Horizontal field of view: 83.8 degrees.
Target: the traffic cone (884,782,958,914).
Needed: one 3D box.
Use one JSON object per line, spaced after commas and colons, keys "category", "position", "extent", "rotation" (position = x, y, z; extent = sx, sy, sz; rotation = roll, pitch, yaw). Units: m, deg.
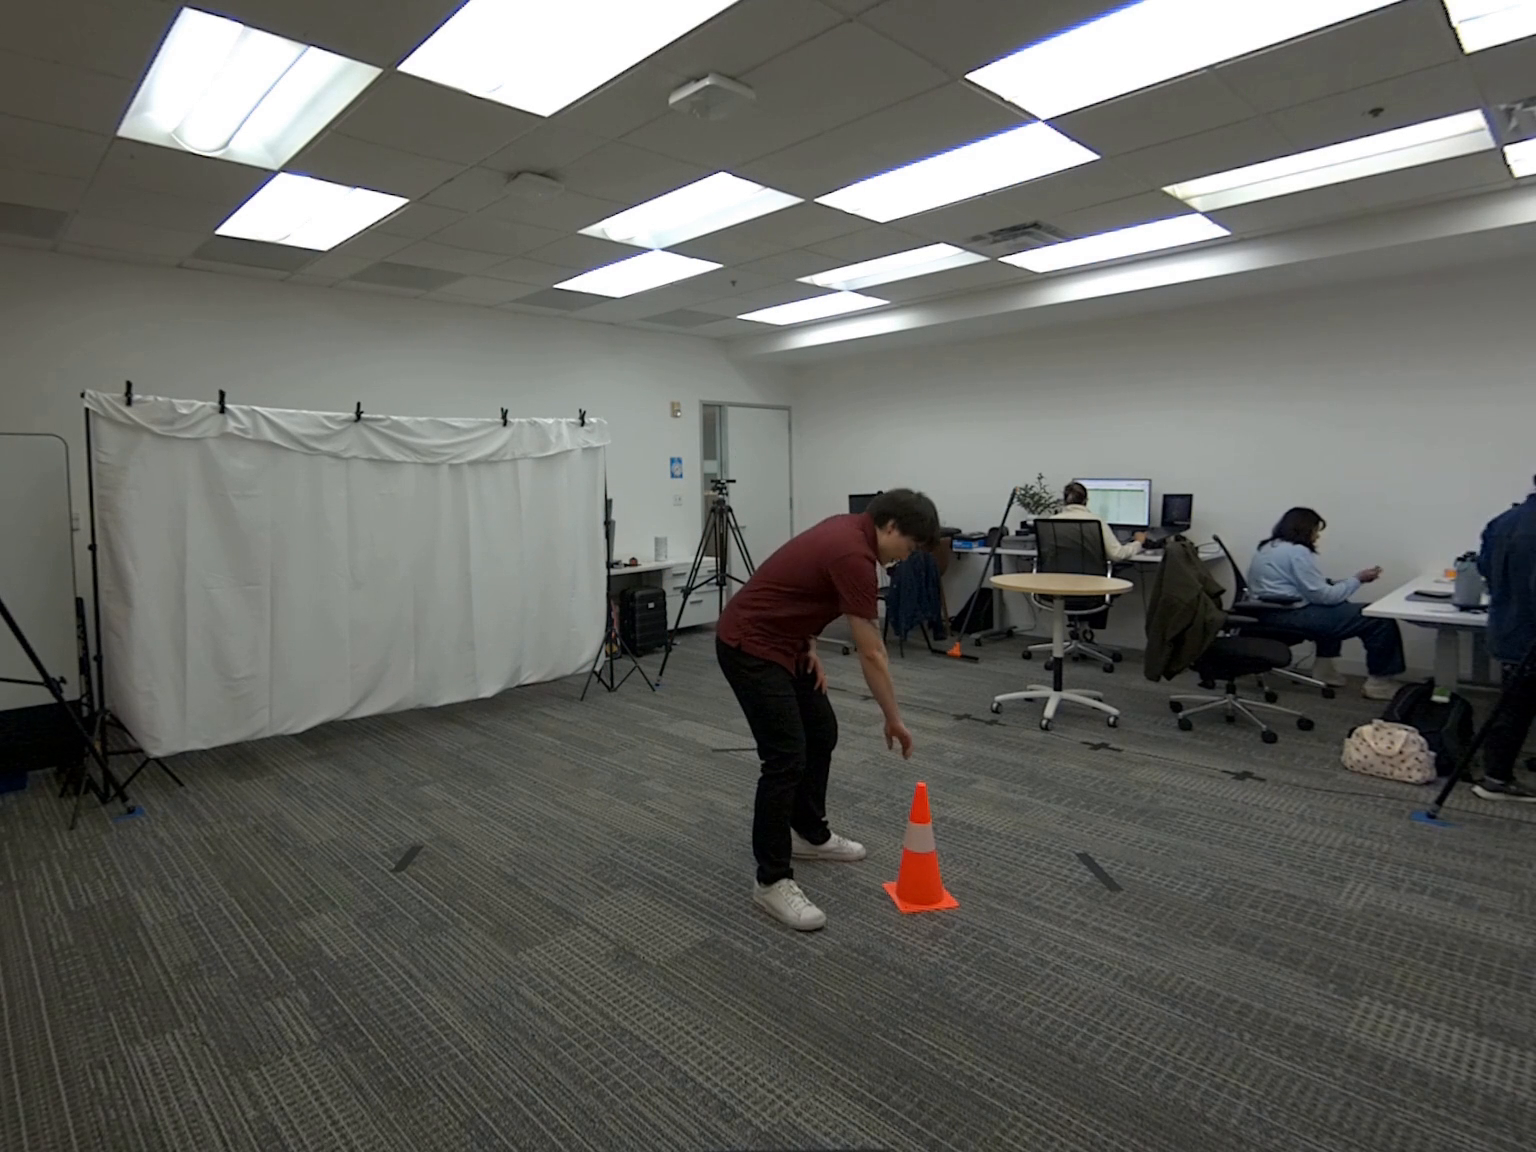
{"category": "traffic cone", "position": [0.511, 0.879, 2.845], "extent": [0.203, 0.382, 0.206], "rotation": [-1, 4, -11]}
